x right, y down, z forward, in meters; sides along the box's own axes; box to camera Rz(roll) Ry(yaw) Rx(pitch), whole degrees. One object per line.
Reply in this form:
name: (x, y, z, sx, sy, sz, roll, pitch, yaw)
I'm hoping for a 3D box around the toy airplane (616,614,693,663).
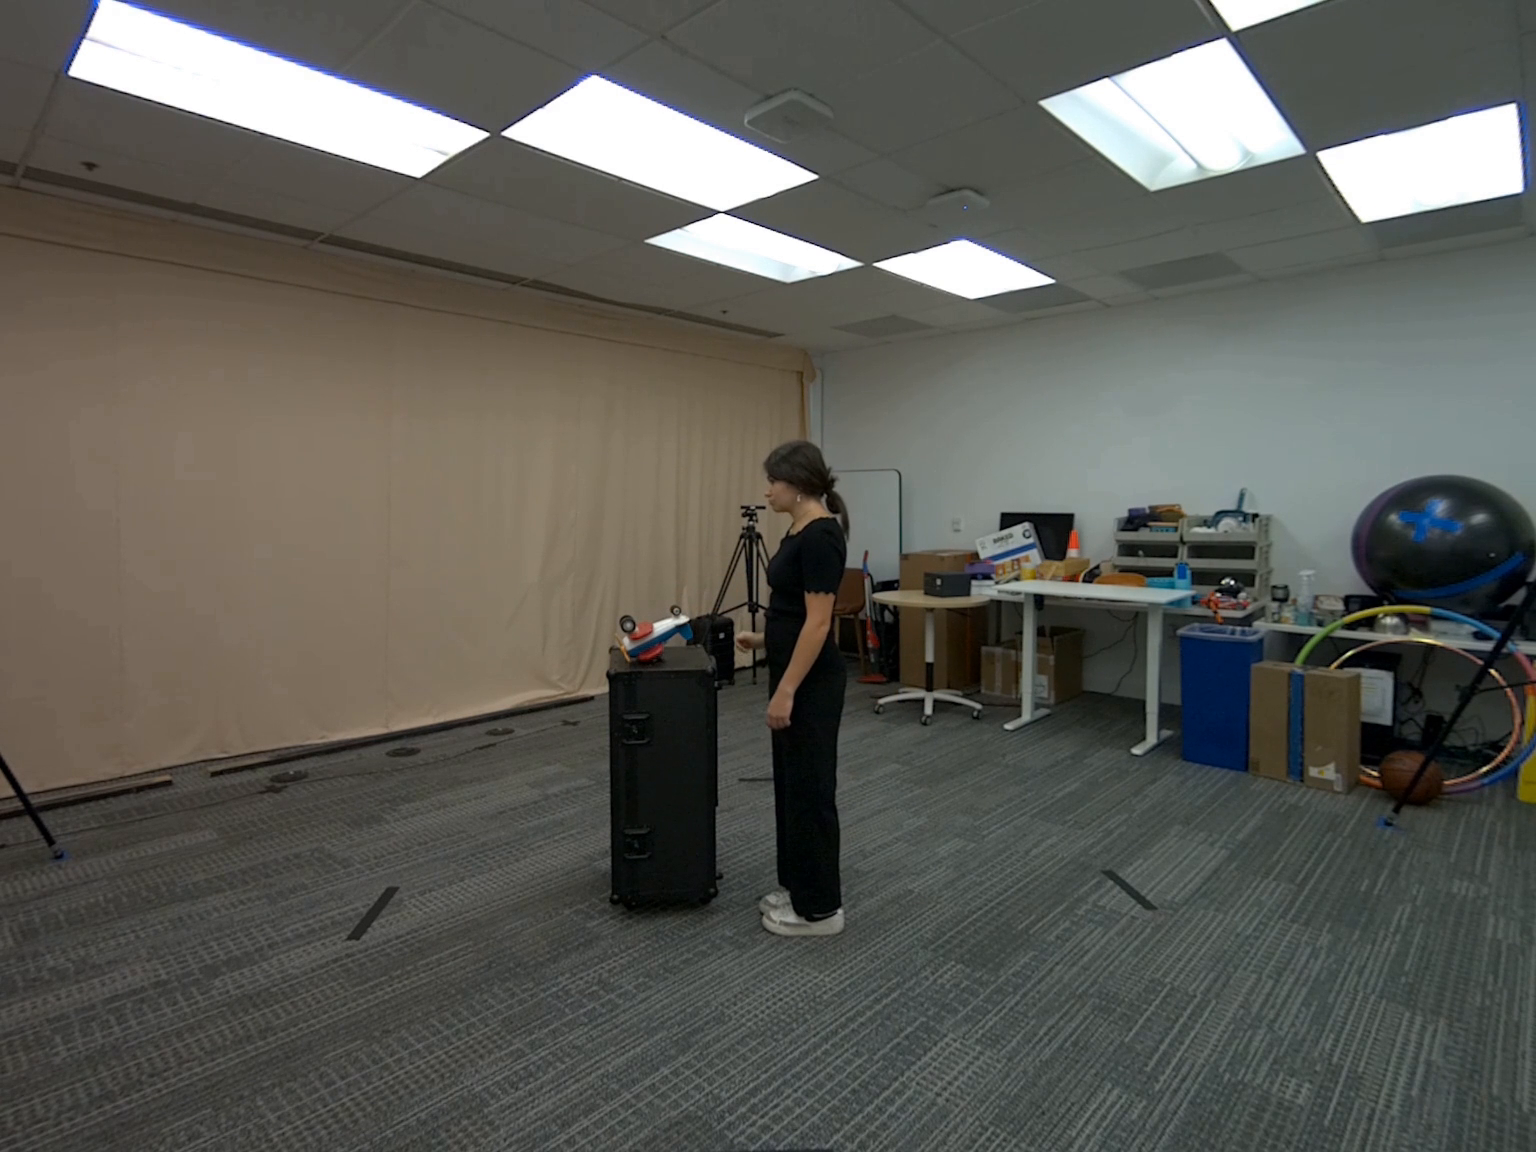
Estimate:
toy airplane: (-0.404, 0.204, 2.966, 0.263, 0.156, 0.248, -8, 6, 17)
